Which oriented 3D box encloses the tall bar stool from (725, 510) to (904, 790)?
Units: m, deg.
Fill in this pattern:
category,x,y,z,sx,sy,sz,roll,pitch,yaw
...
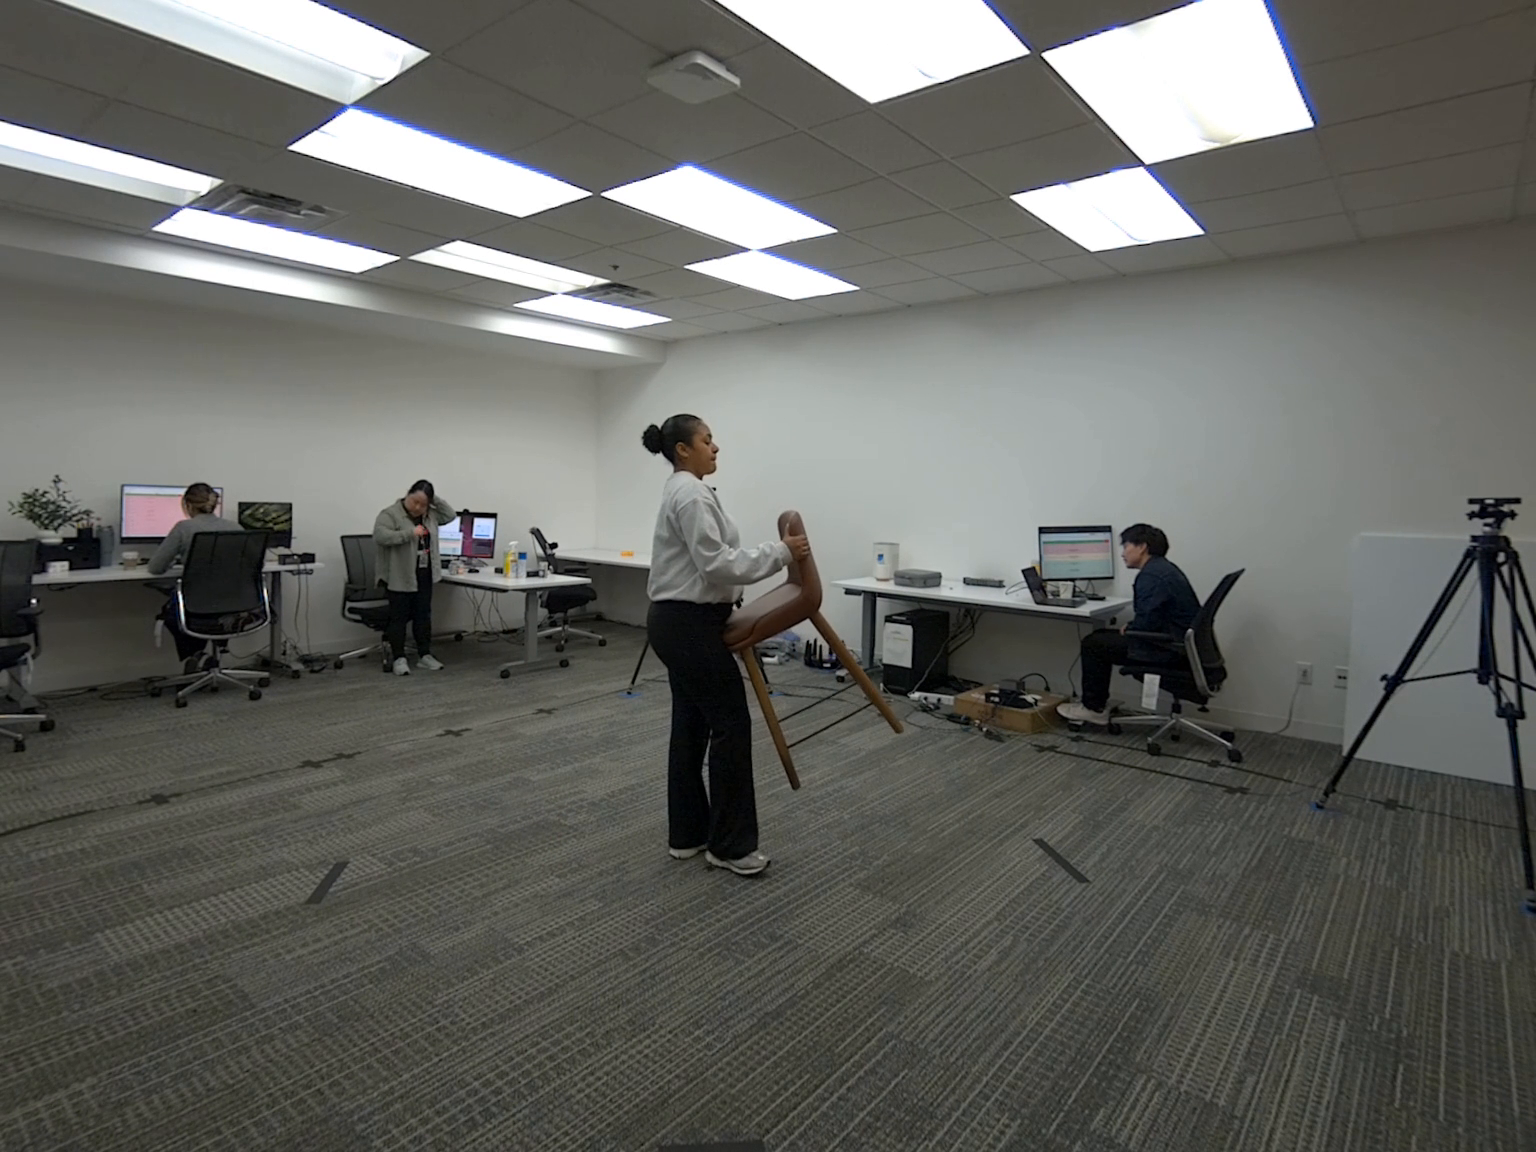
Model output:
category,x,y,z,sx,sy,sz,roll,pitch,yaw
tall bar stool,0.073,0.260,3.198,0.468,0.883,0.460,-25,6,1
